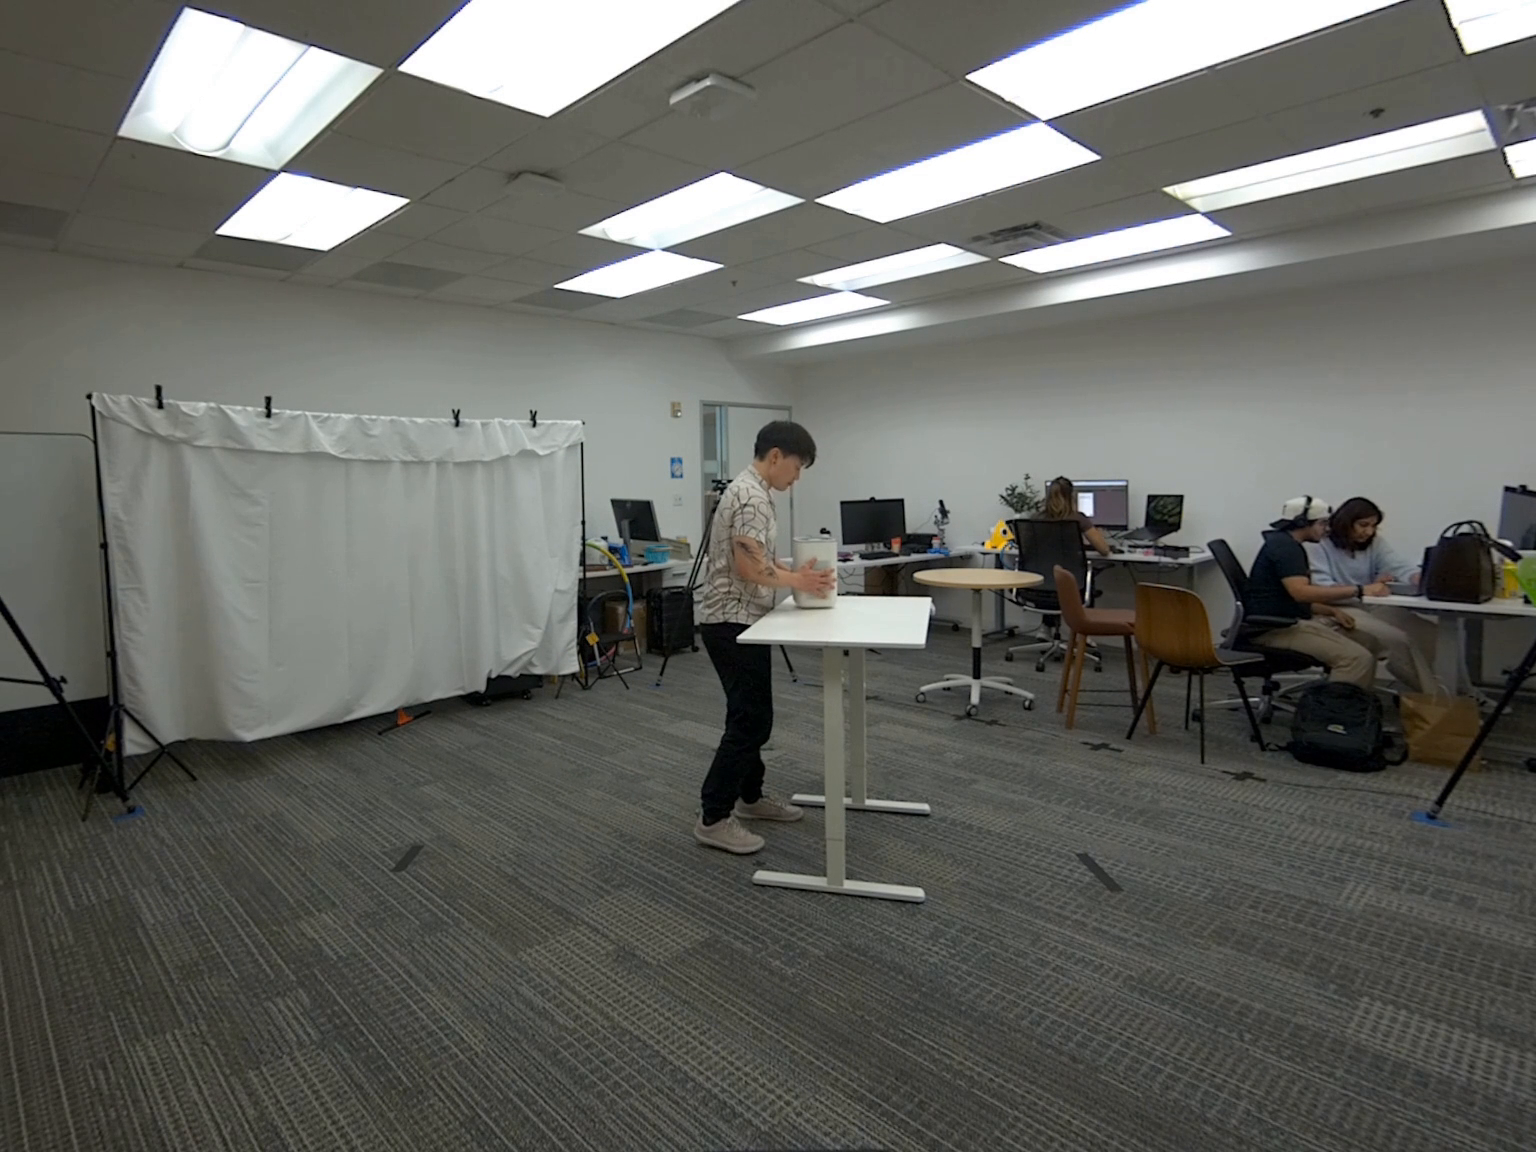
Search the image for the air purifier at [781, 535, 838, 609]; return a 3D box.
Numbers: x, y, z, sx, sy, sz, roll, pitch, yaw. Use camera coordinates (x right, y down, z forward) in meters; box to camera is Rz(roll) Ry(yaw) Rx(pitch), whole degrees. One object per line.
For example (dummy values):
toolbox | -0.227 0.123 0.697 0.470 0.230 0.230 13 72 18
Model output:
air purifier | 0.184 -0.017 3.405 0.171 0.263 0.173 -2 7 -5
